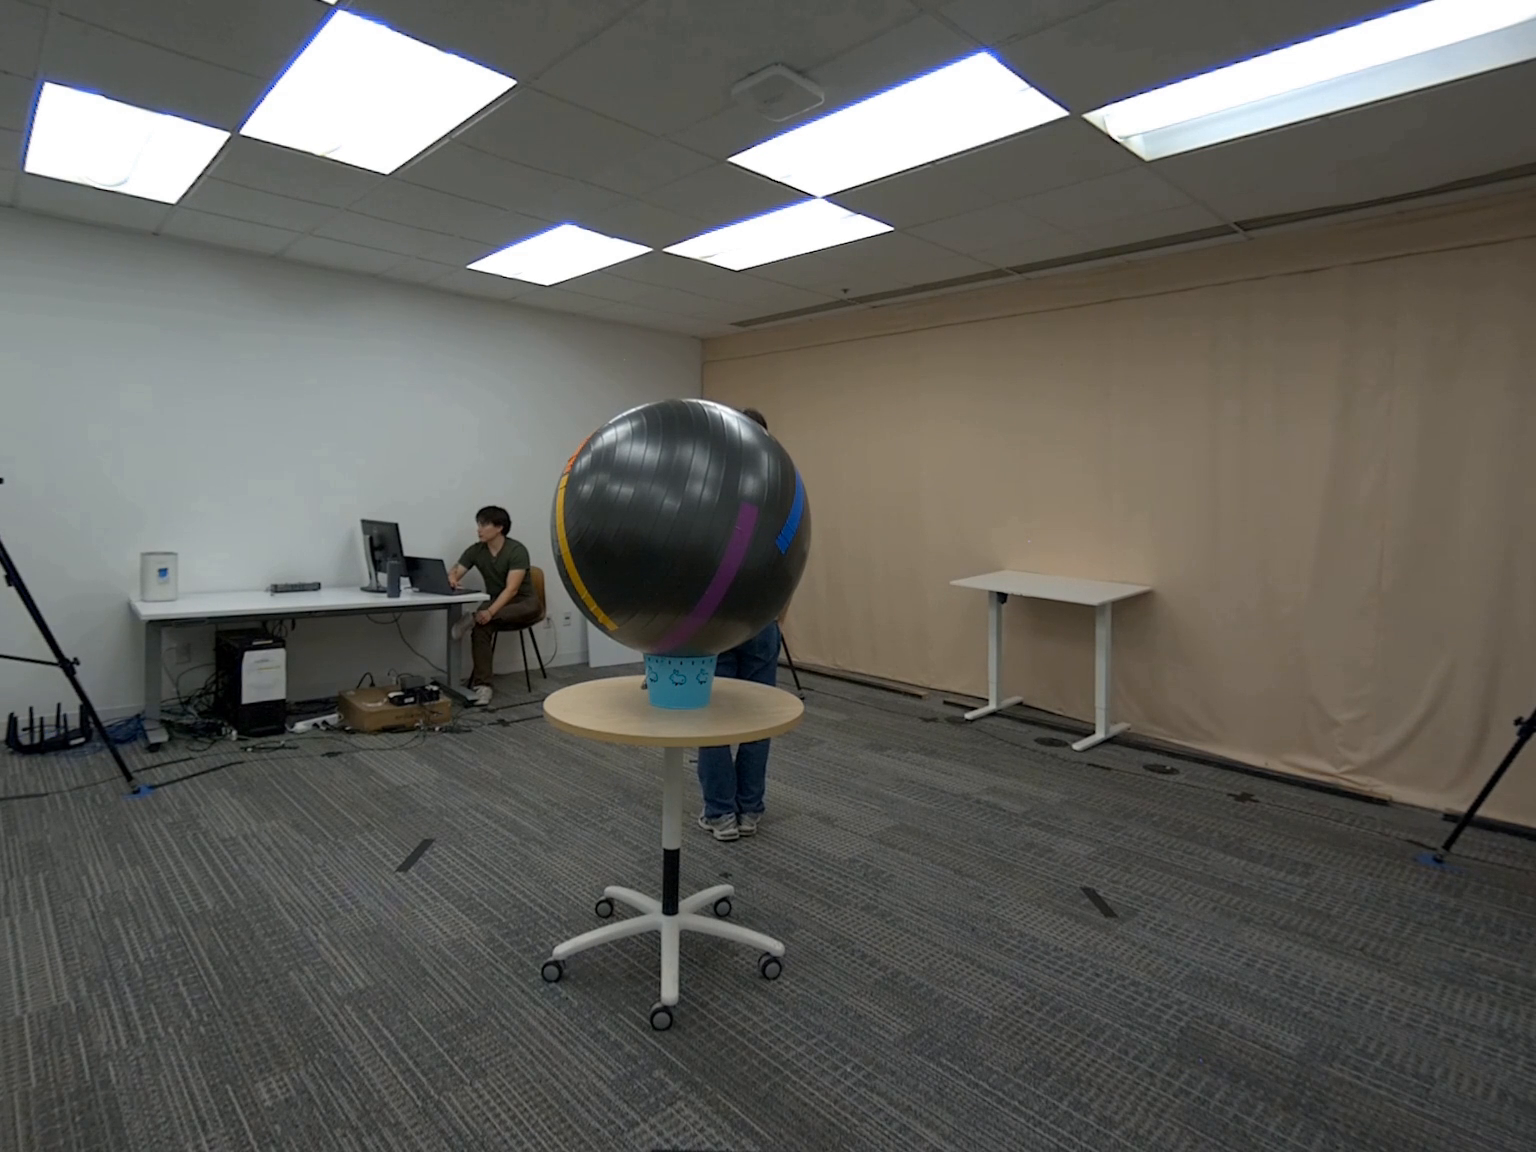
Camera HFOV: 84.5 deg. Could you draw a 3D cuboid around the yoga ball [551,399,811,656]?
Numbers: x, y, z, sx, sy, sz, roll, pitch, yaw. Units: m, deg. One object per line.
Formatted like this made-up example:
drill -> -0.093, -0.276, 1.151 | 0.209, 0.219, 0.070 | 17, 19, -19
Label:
yoga ball -> -0.258, -0.135, 2.473 | 0.757, 0.756, 0.761 | 1, 4, -1
